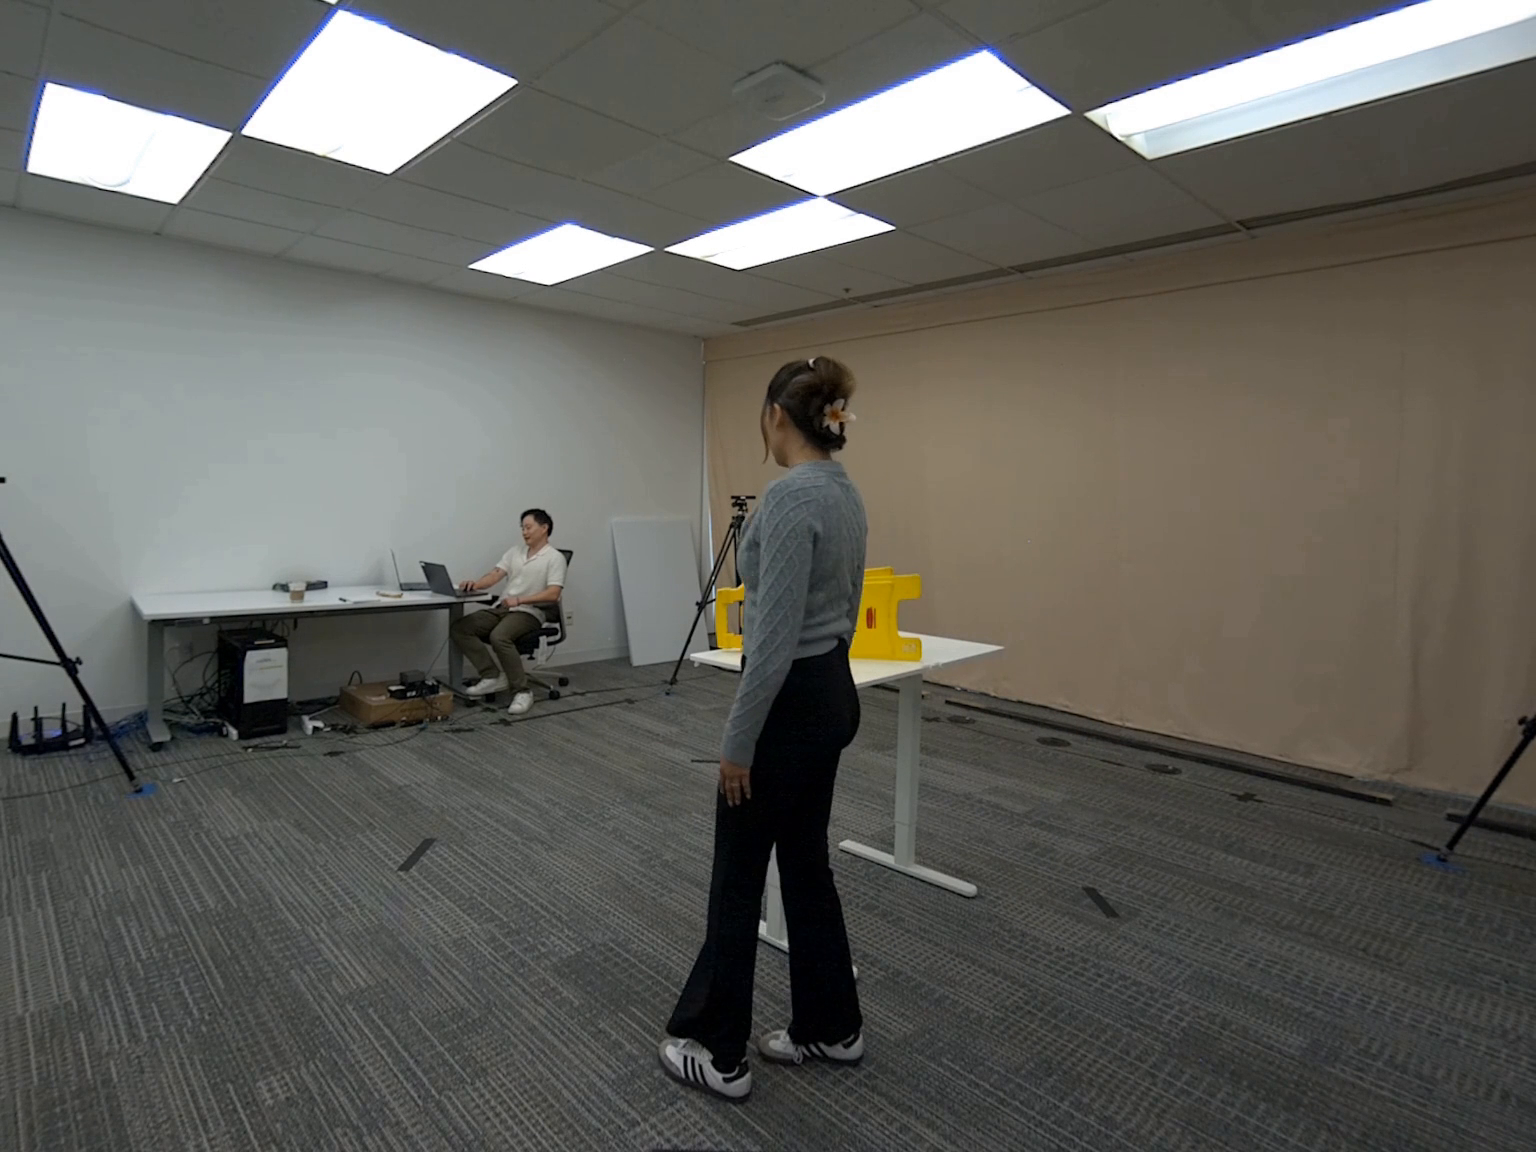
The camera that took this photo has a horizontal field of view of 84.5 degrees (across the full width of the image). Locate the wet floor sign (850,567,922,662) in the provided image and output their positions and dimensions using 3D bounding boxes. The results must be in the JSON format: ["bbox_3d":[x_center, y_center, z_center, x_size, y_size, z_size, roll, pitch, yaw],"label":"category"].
[{"bbox_3d":[0.145,0.134,2.796,0.642,0.281,0.292,-2,4,-7],"label":"wet floor sign"}]
